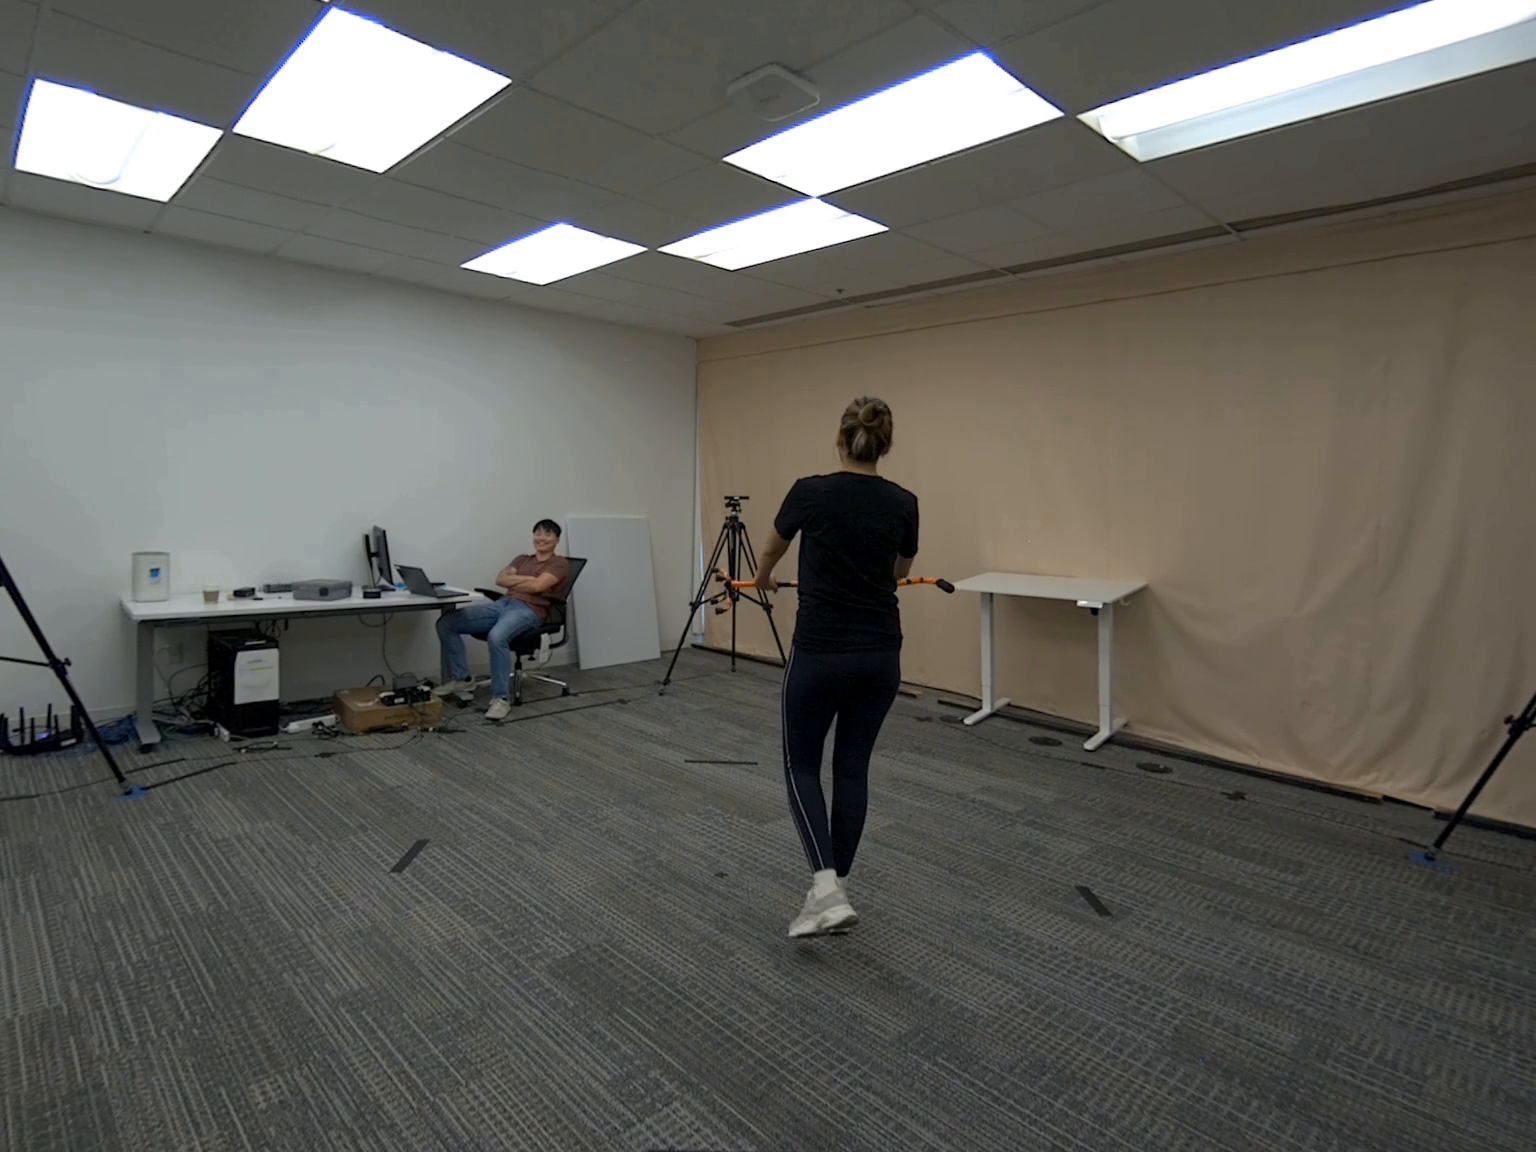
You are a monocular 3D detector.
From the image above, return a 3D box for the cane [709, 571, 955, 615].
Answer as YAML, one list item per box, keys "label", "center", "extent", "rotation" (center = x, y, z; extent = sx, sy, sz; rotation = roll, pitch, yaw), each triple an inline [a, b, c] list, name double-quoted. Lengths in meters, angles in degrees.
- label: "cane"
  center: [0.233, 0.040, 3.216]
  extent: [0.903, 0.150, 0.209]
  rotation: [-1, 10, -6]
